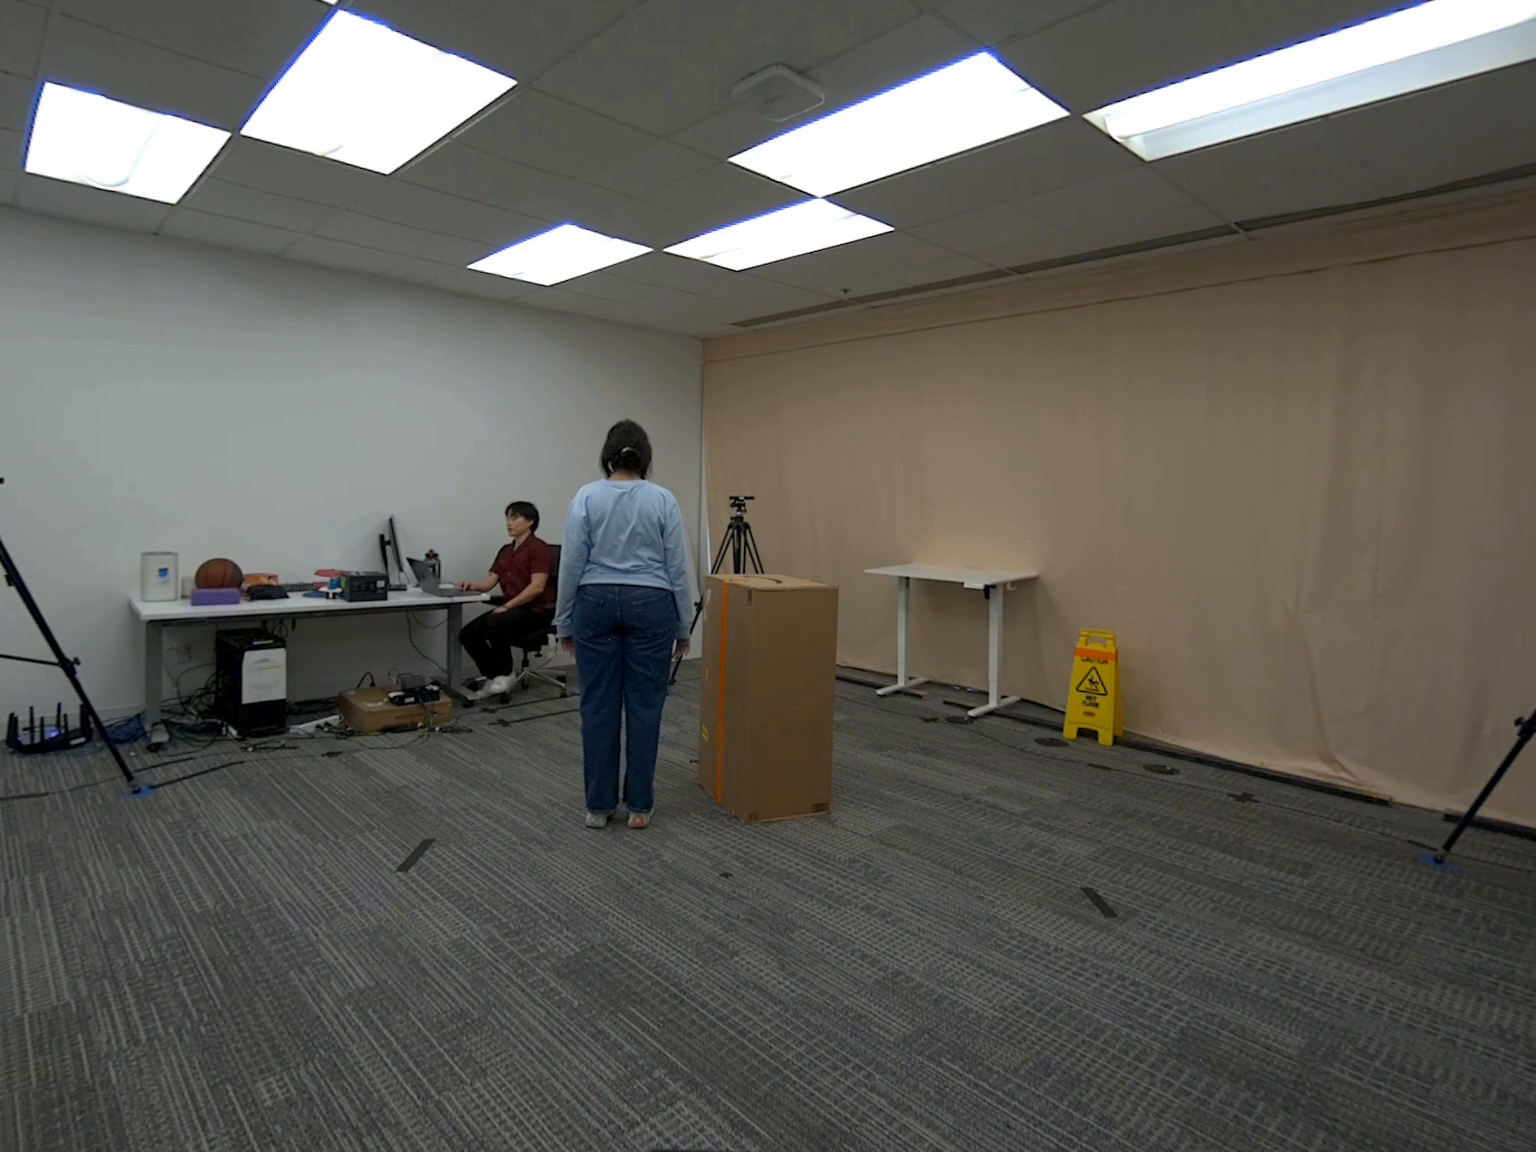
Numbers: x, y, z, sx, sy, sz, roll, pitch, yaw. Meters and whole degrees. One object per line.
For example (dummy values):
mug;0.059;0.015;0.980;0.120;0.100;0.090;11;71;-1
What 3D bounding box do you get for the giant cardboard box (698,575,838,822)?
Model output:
giant cardboard box;-0.026;0.525;3.908;0.419;1.023;0.589;0;4;-25
